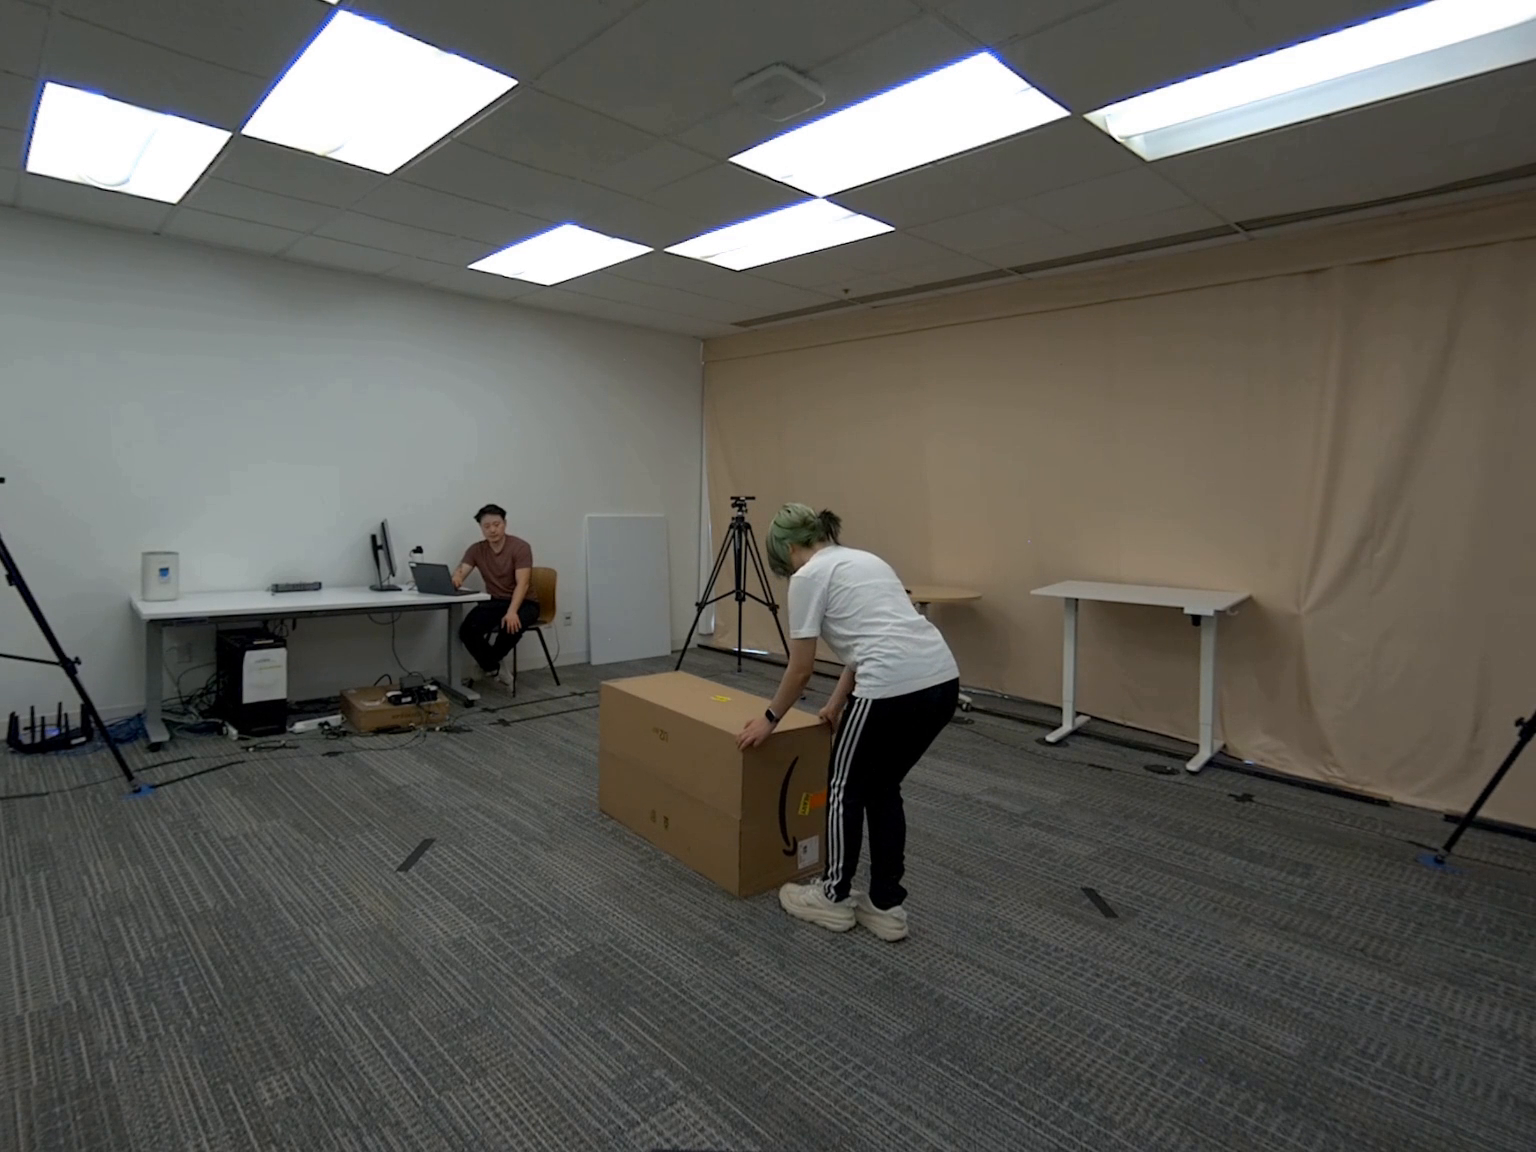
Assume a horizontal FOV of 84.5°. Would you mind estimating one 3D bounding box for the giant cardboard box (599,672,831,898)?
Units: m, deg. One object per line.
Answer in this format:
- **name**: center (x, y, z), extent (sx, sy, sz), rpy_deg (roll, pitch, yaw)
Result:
- **giant cardboard box**: center (-0.263, 0.785, 3.429), extent (0.436, 0.582, 1.053), rpy_deg (0, 5, -39)
